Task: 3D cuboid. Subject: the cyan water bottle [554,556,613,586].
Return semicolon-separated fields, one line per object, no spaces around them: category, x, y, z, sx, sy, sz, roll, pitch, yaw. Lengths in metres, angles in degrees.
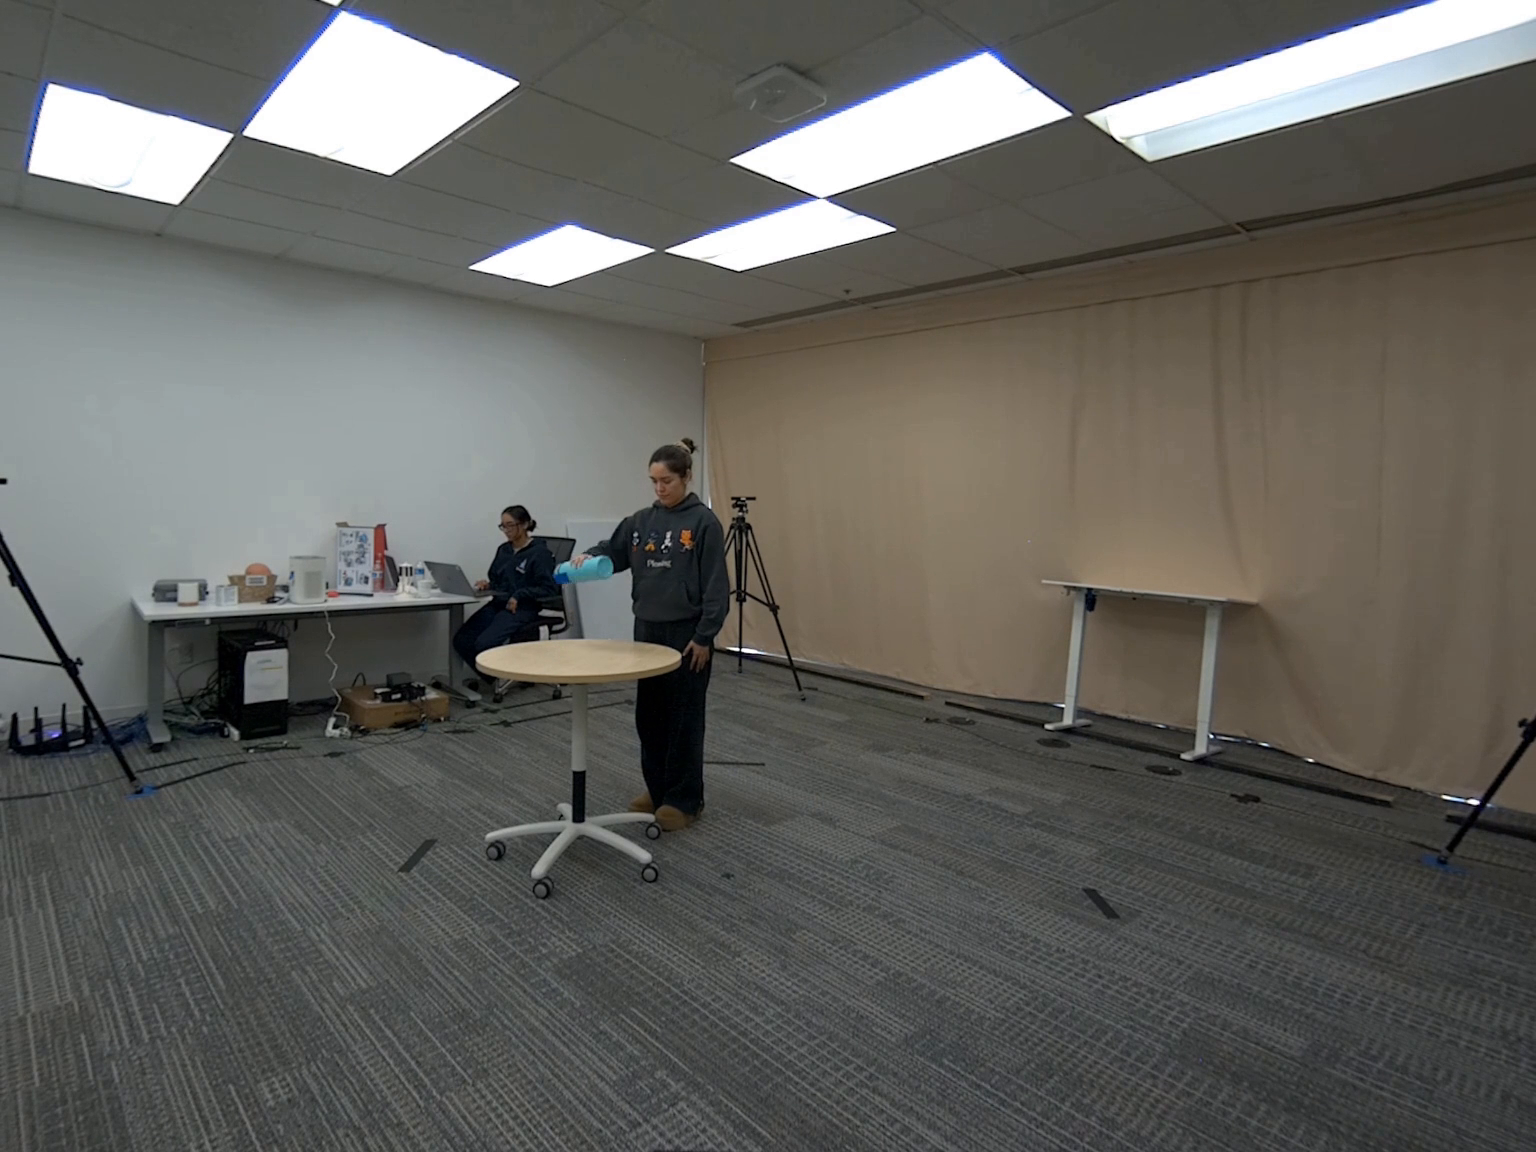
cyan water bottle;-0.760;-0.014;3.336;0.289;0.092;0.090;-5;0;38
